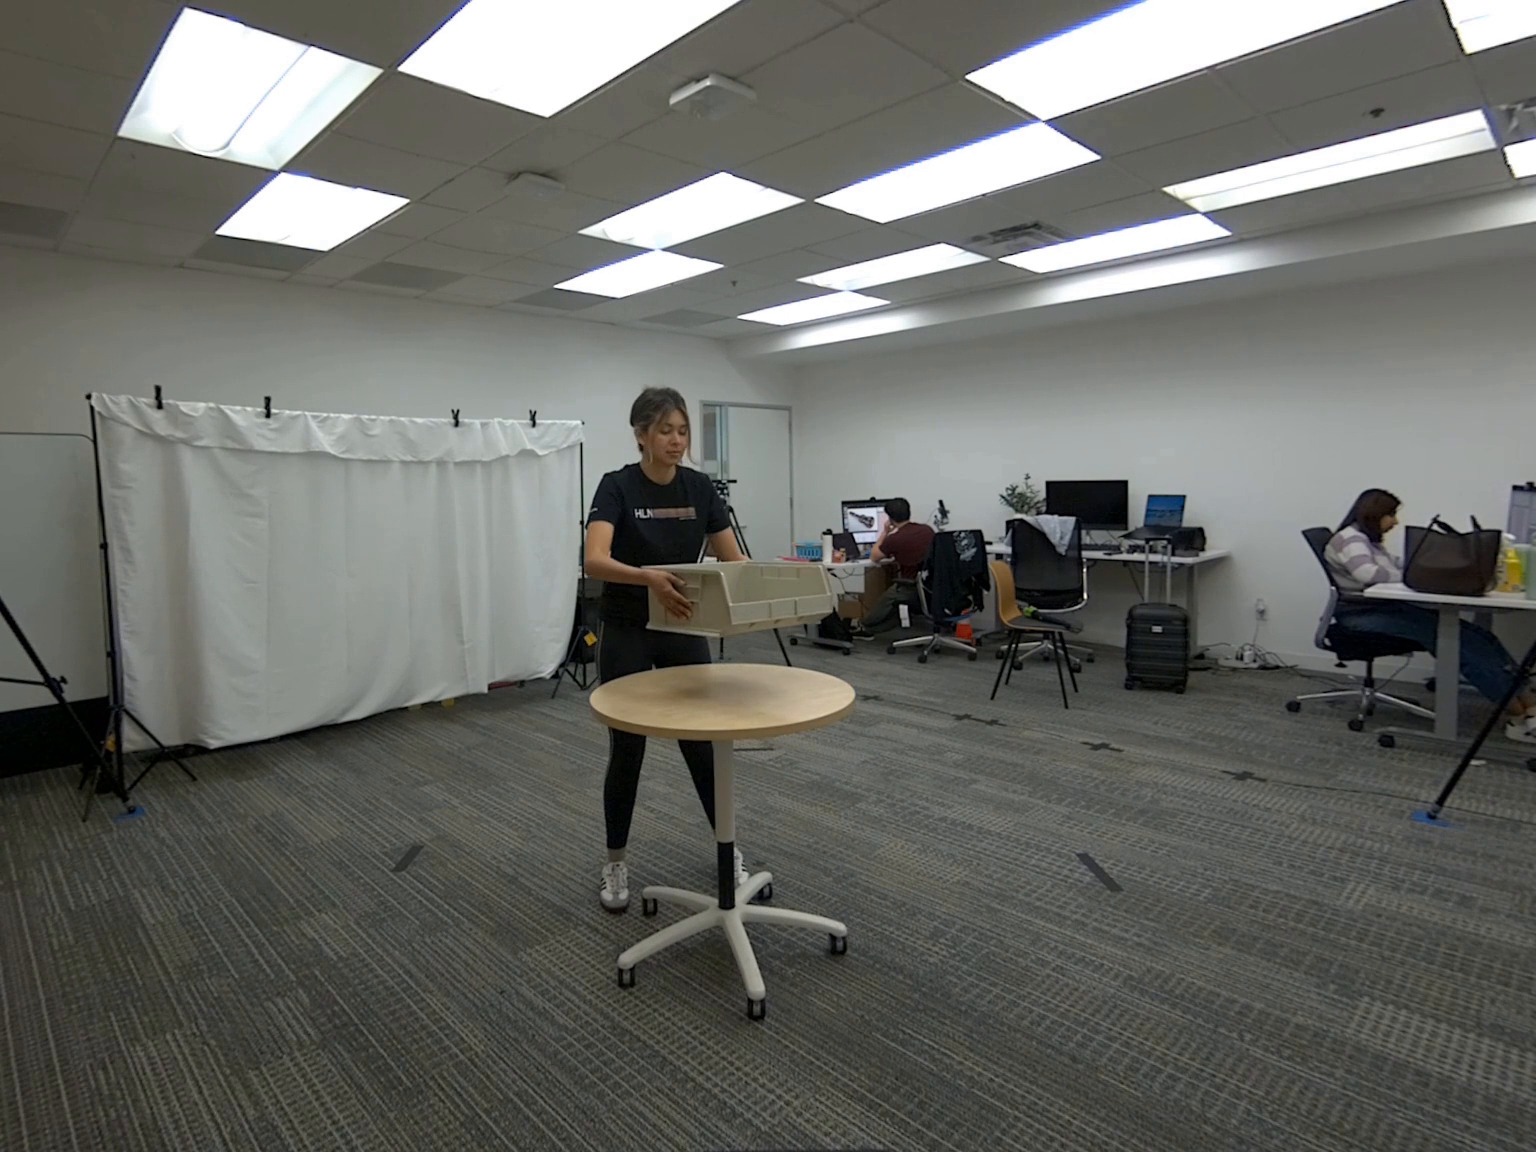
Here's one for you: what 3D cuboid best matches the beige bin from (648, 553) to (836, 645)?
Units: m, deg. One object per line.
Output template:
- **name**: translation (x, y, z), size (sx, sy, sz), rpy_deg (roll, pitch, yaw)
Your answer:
- **beige bin**: translation (-0.086, 0.060, 2.483), size (0.387, 0.188, 0.412), rpy_deg (-3, 6, 38)
